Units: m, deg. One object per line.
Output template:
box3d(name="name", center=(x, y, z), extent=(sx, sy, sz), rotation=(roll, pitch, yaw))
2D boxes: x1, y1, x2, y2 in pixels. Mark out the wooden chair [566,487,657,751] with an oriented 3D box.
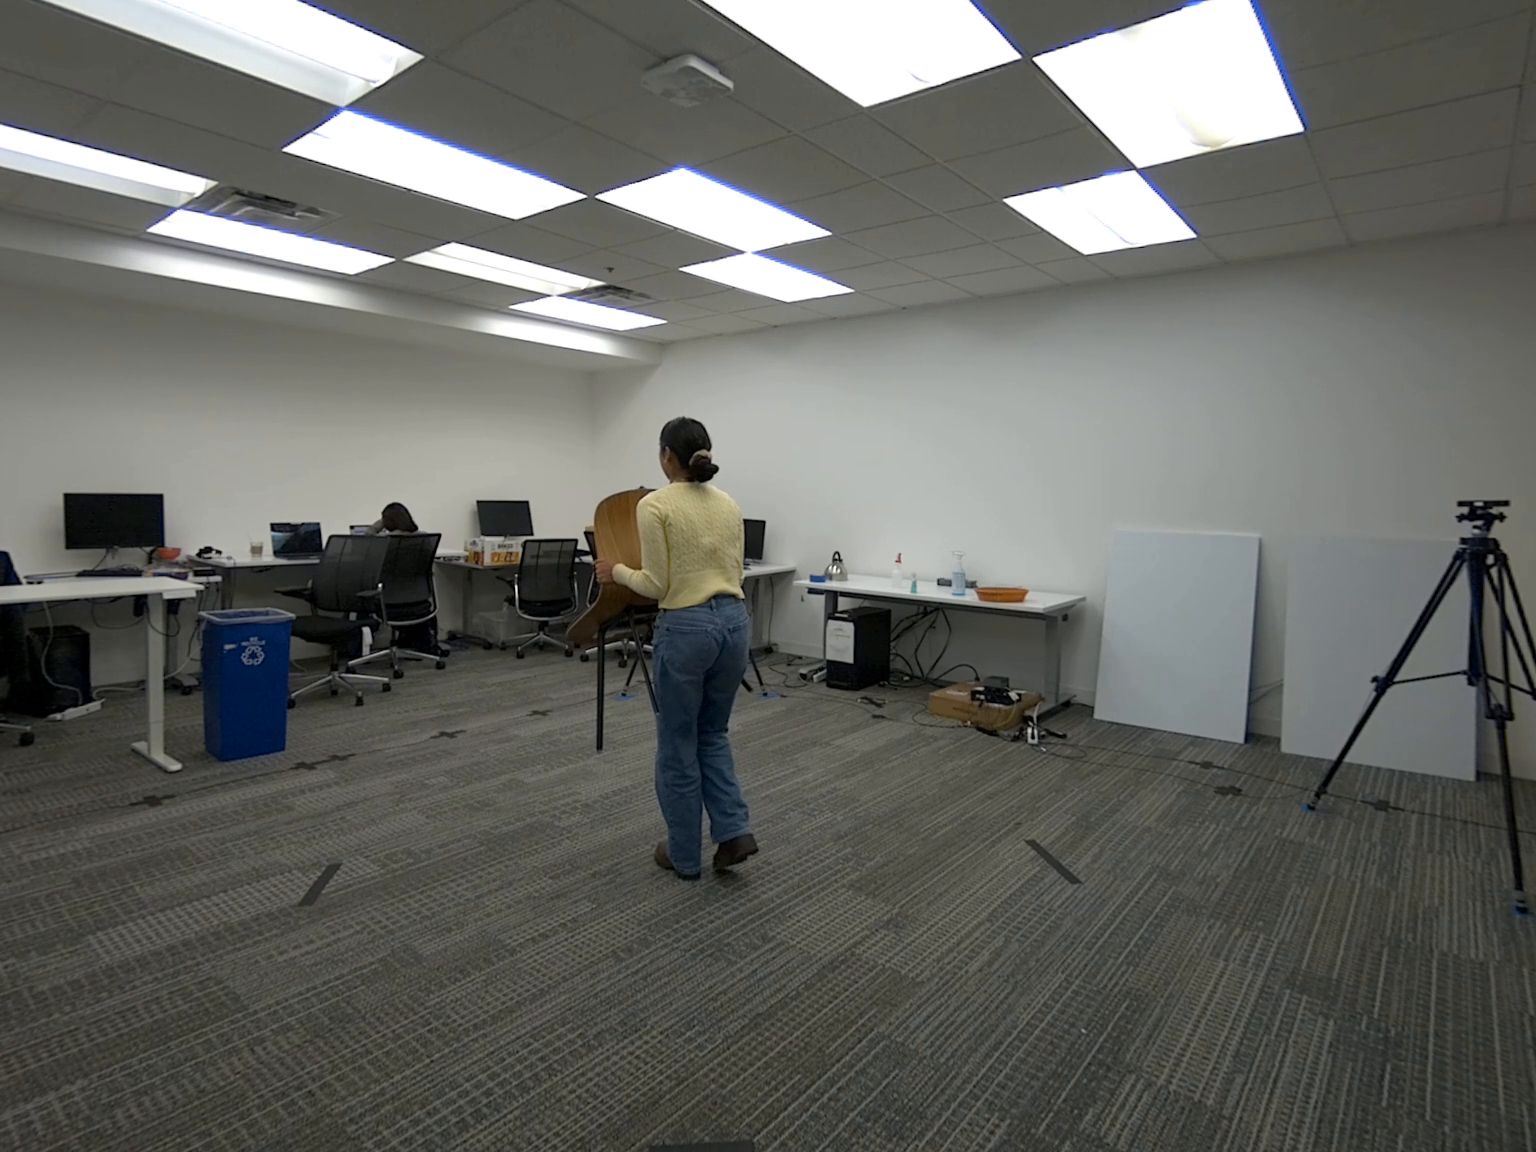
box3d(name="wooden chair", center=(-0.523, 0.166, 3.326), extent=(0.464, 0.893, 0.529), rotation=(-6, -19, -42))
